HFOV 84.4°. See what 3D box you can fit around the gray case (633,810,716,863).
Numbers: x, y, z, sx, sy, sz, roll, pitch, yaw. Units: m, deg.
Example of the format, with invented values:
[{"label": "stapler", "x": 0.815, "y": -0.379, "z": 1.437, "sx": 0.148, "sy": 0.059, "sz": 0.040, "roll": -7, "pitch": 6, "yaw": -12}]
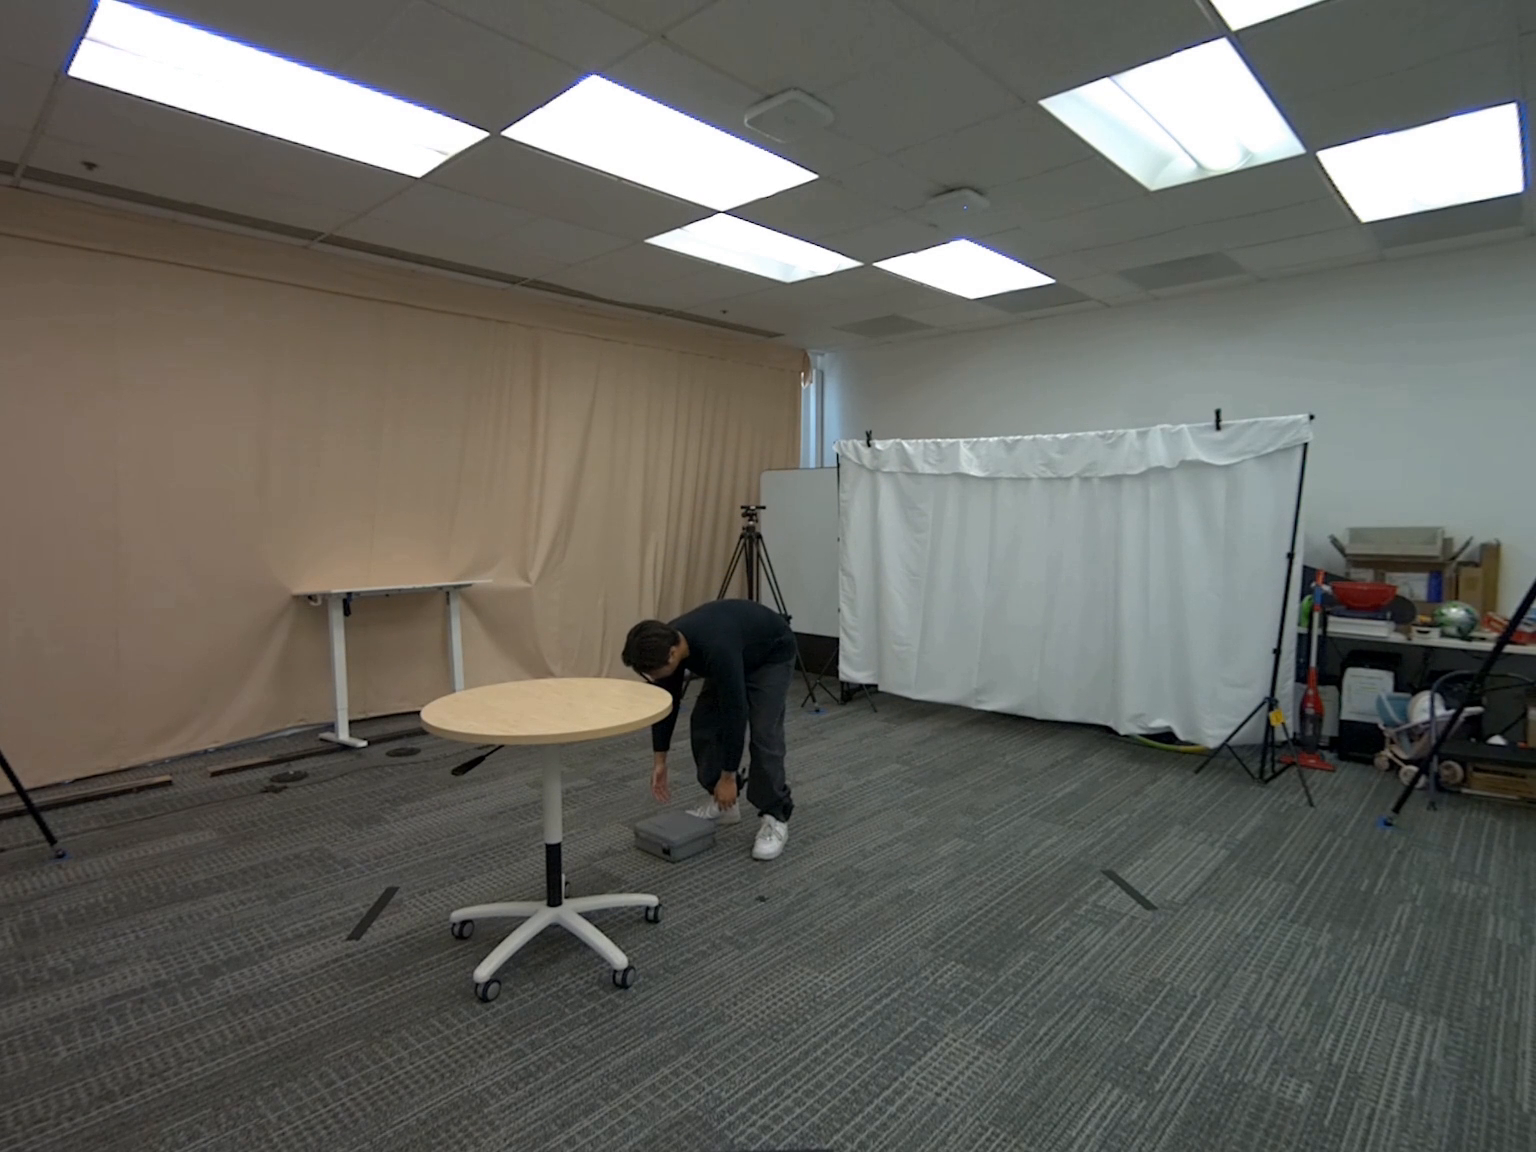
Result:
[{"label": "gray case", "x": -0.383, "y": 1.051, "z": 3.448, "sx": 0.265, "sy": 0.104, "sz": 0.253, "roll": 1, "pitch": 4, "yaw": 43}]
